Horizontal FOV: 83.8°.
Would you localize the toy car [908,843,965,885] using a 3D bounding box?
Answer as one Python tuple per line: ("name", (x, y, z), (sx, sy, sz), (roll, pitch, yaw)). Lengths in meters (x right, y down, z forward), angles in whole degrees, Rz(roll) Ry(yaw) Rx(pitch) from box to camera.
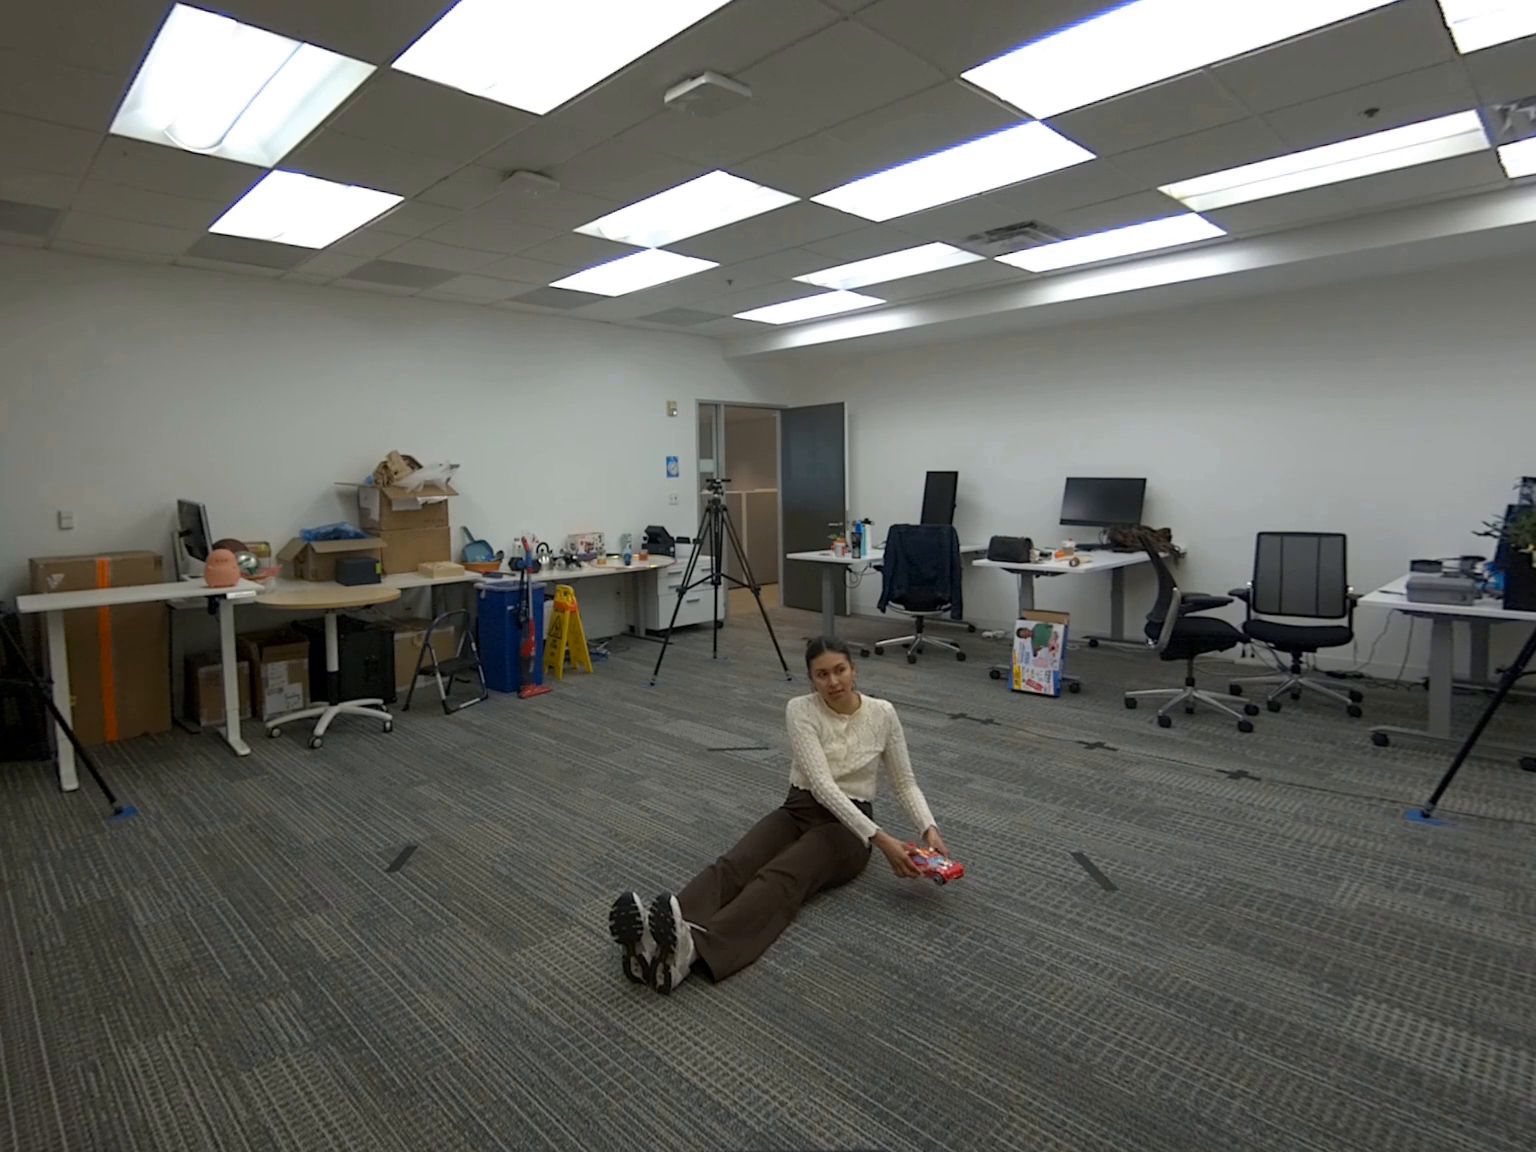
("toy car", (0.507, 0.942, 2.799), (0.127, 0.082, 0.263), (-3, 12, -37))
